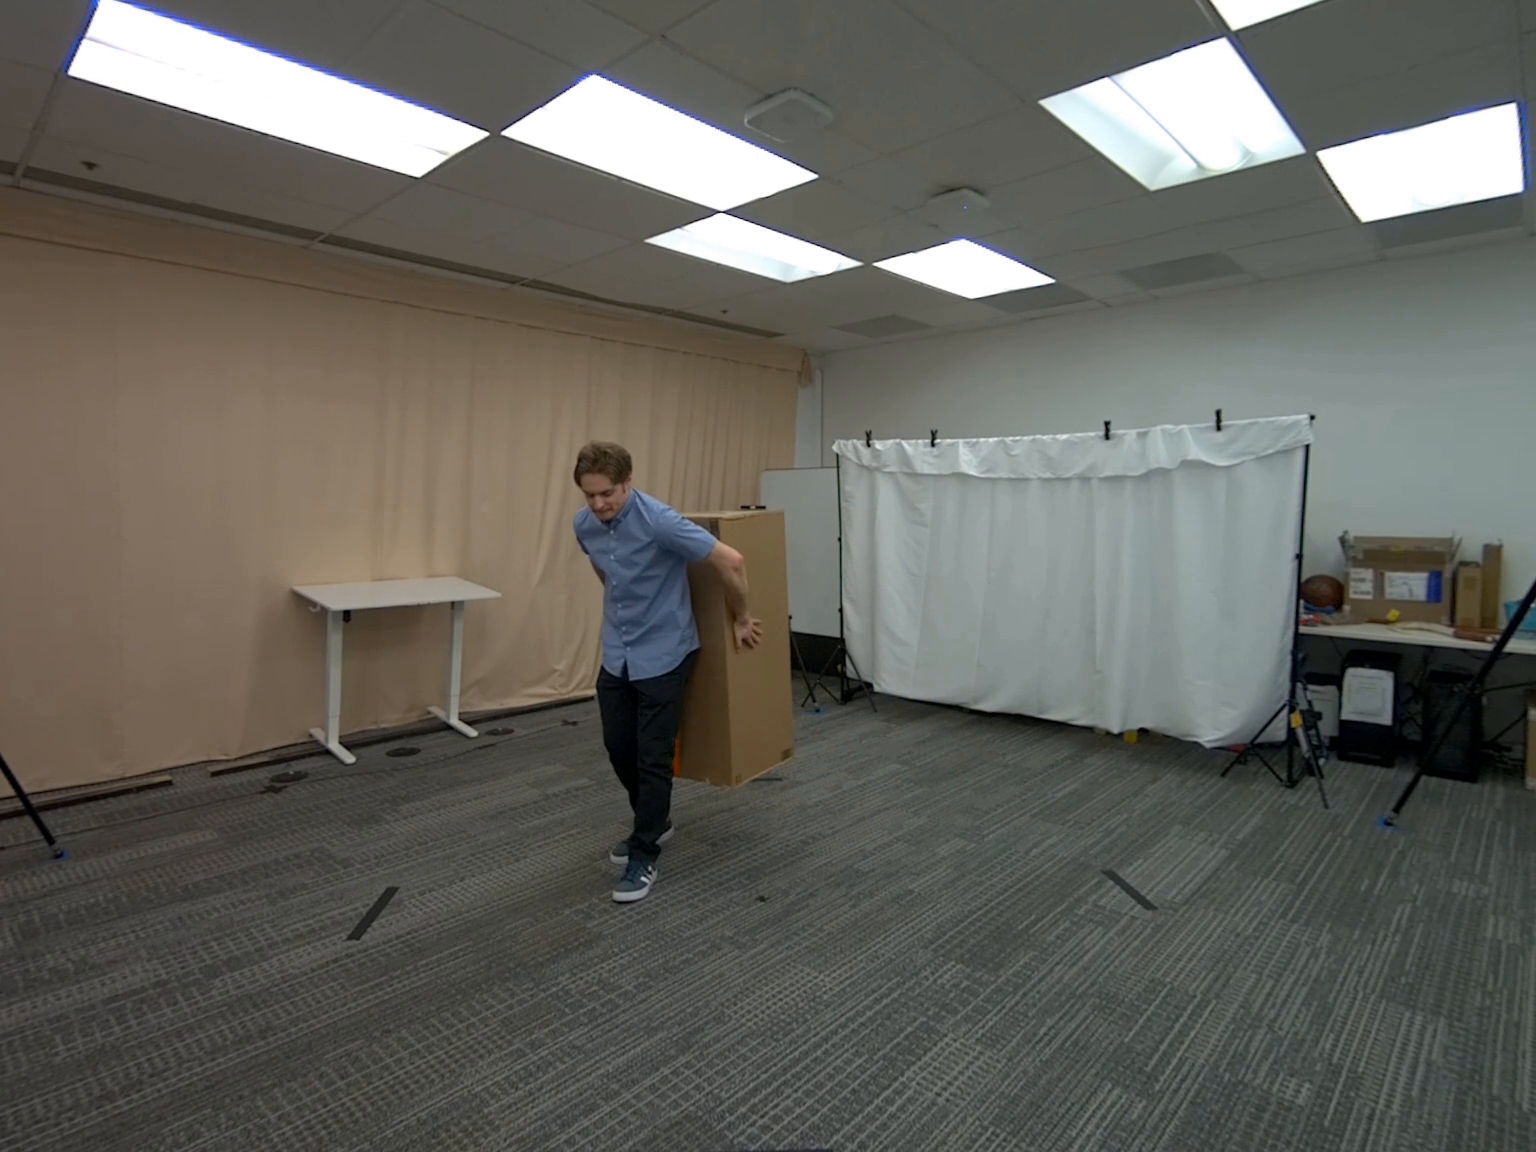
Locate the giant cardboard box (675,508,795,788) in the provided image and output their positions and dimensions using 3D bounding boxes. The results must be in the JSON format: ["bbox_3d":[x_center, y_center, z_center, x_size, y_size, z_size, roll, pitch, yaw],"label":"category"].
[{"bbox_3d":[-0.262,0.264,3.429,0.602,1.024,0.434,1,5,36],"label":"giant cardboard box"}]
